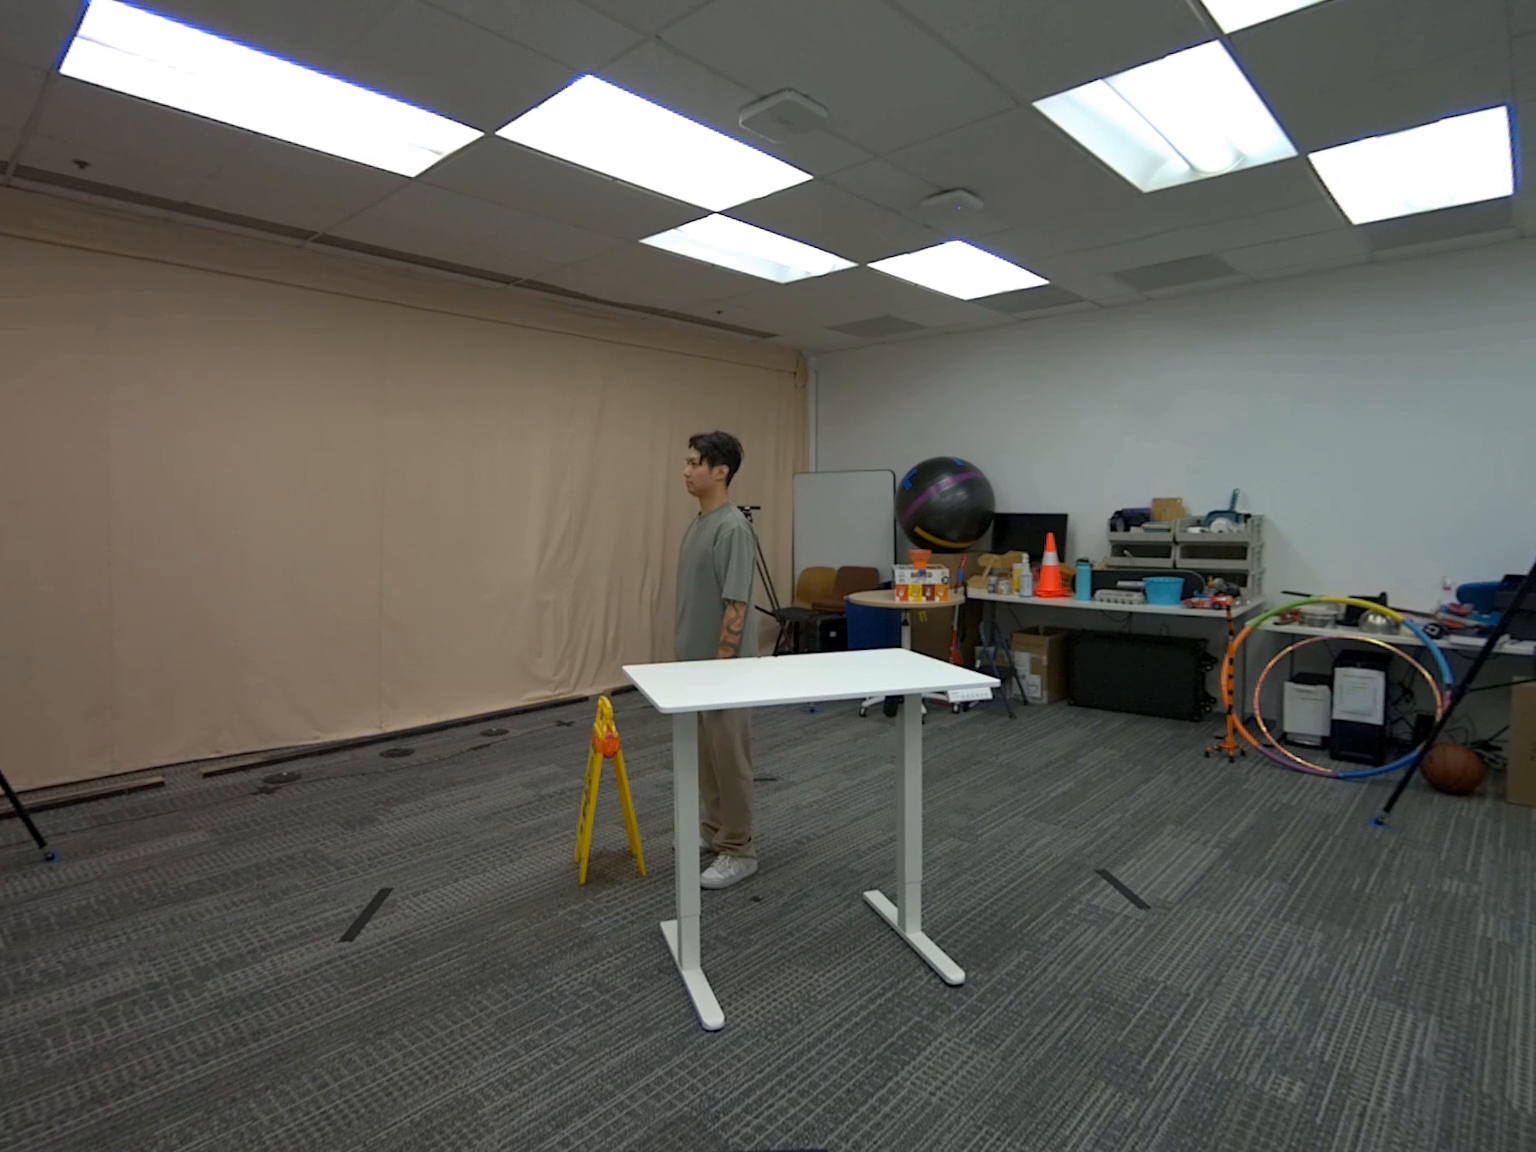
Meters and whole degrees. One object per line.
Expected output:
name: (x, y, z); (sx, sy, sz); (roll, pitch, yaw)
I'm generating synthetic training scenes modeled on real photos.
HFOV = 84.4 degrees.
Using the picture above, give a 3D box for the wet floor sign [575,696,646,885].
wet floor sign: (-0.621, 0.801, 3.249); (0.285, 0.645, 0.287); (-3, 2, -16)
